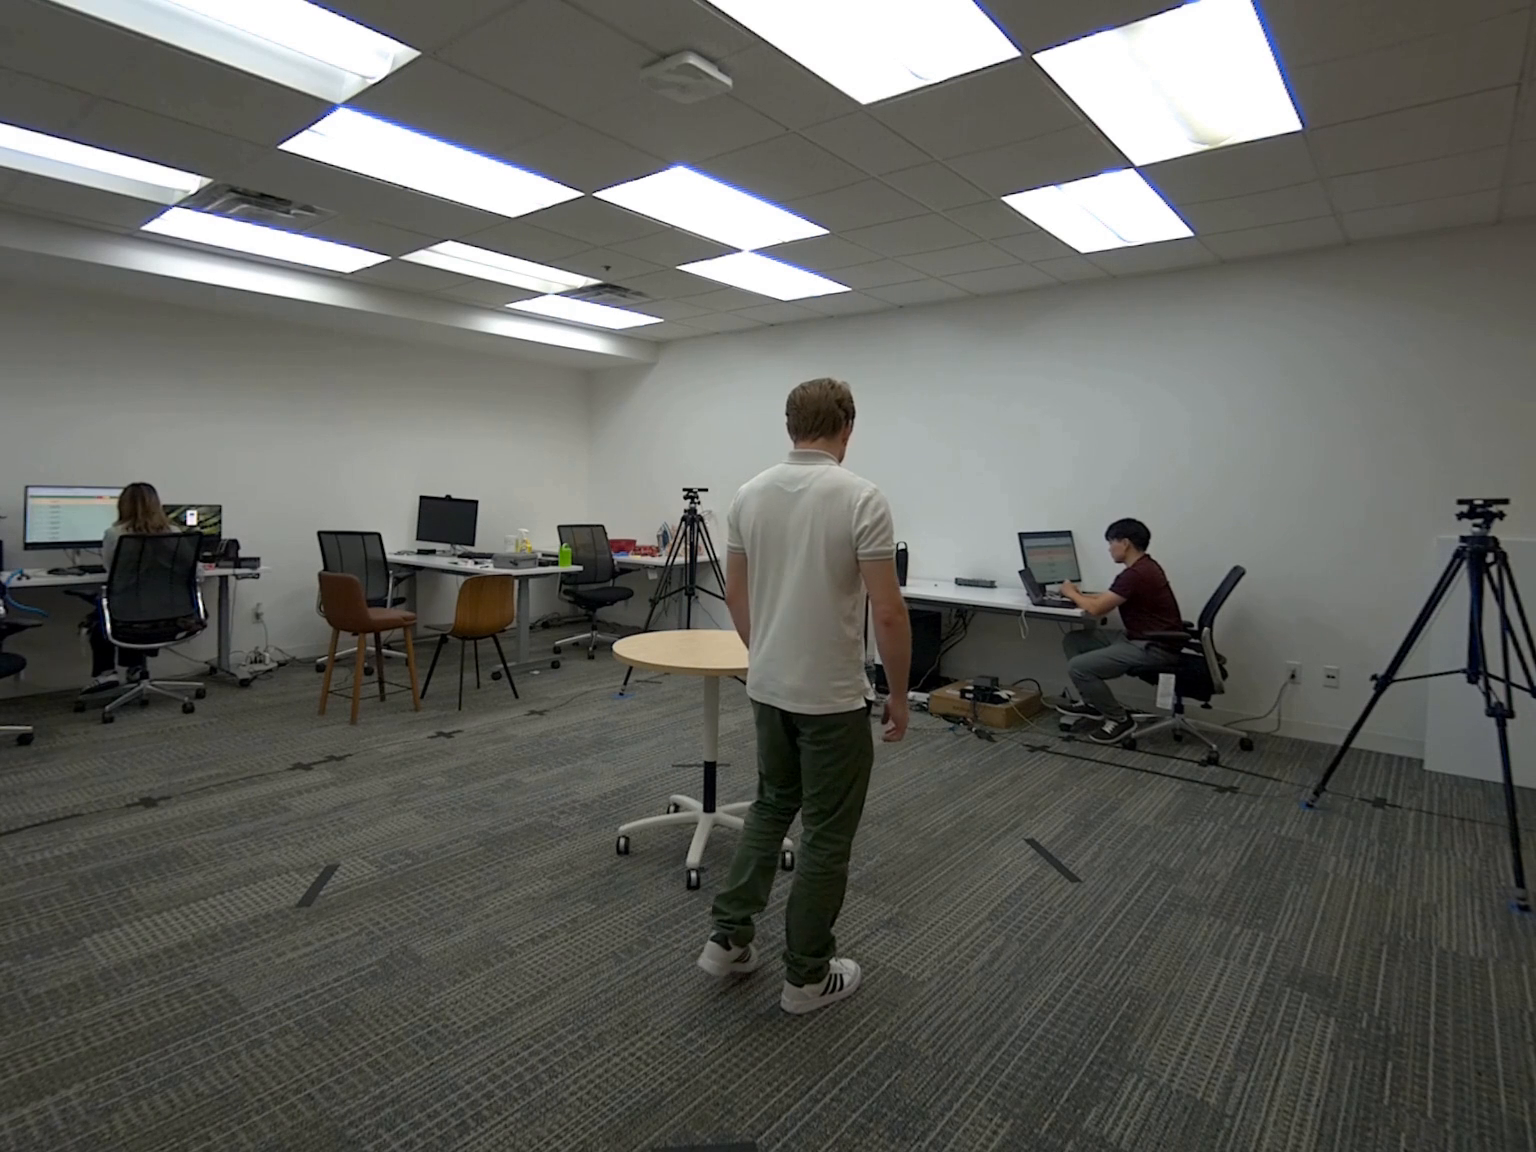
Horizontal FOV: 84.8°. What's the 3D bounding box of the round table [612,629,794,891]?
[{"bbox_3d":[-0.236,0.657,3.300,0.784,0.783,0.789,1,5,-2],"label":"round table"}]
